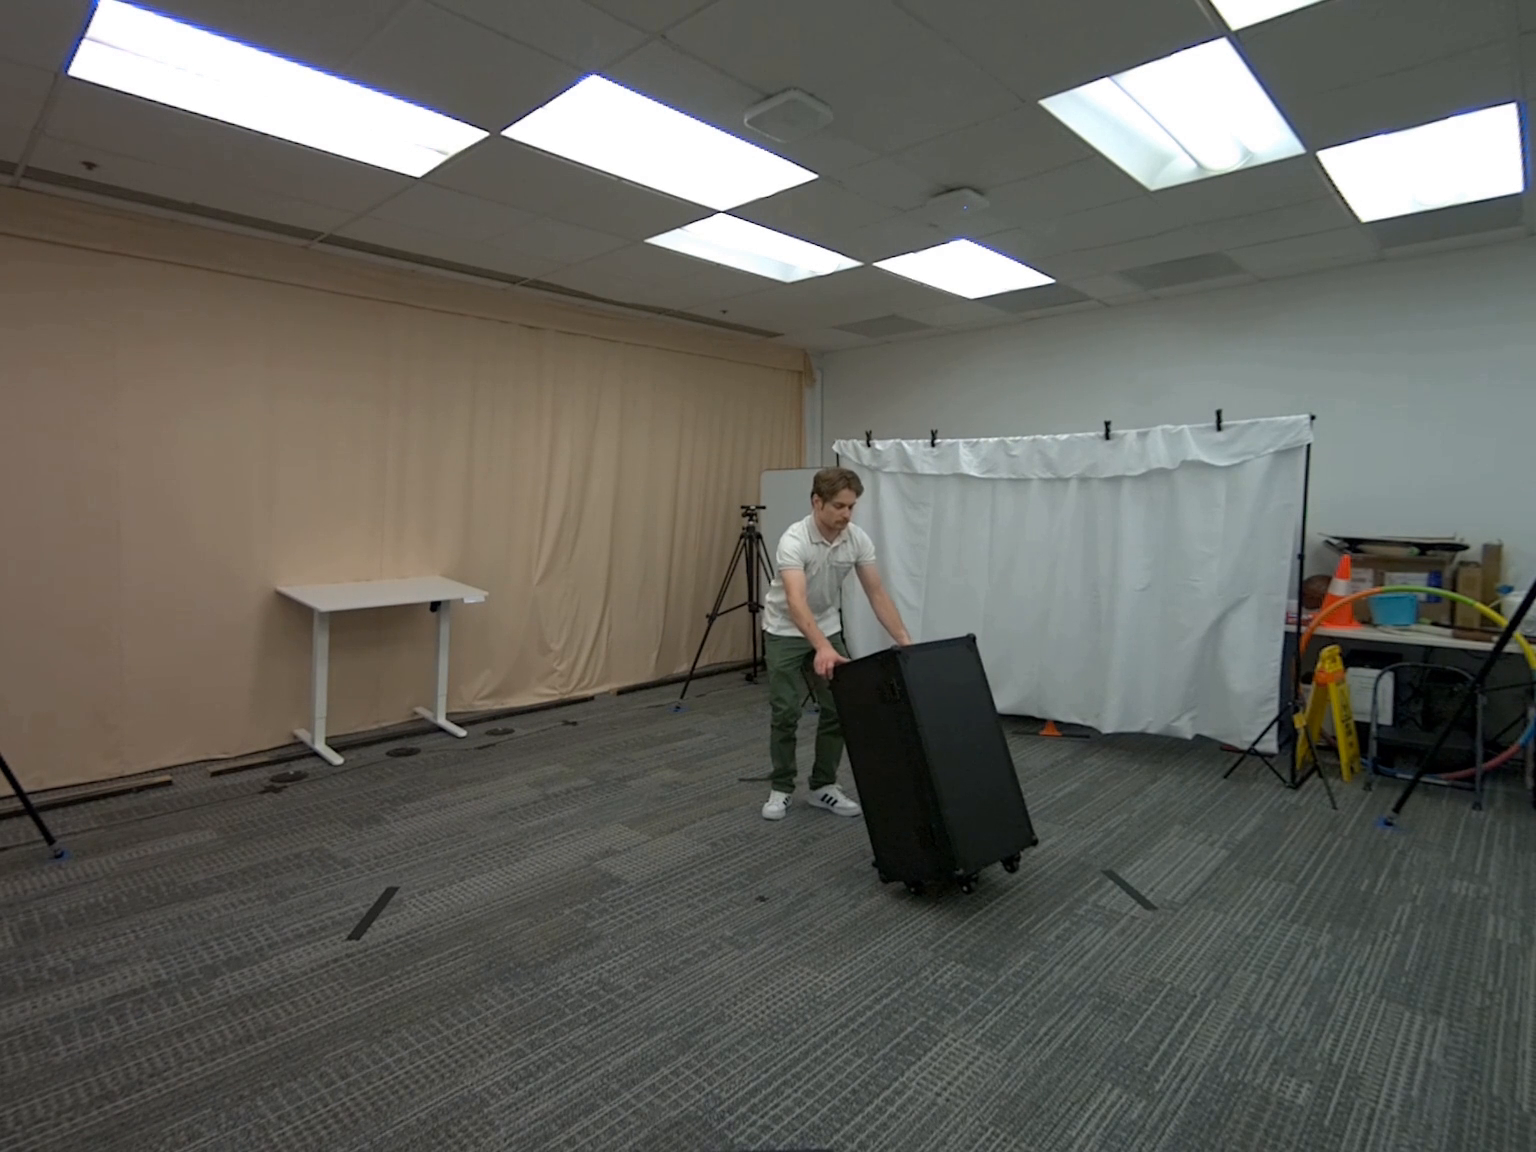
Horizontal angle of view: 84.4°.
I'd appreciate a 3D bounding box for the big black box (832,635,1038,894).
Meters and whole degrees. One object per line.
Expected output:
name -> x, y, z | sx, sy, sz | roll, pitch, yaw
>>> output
big black box -> 0.605, 0.695, 3.112 | 0.505, 0.871, 0.404 | -3, -17, -41
